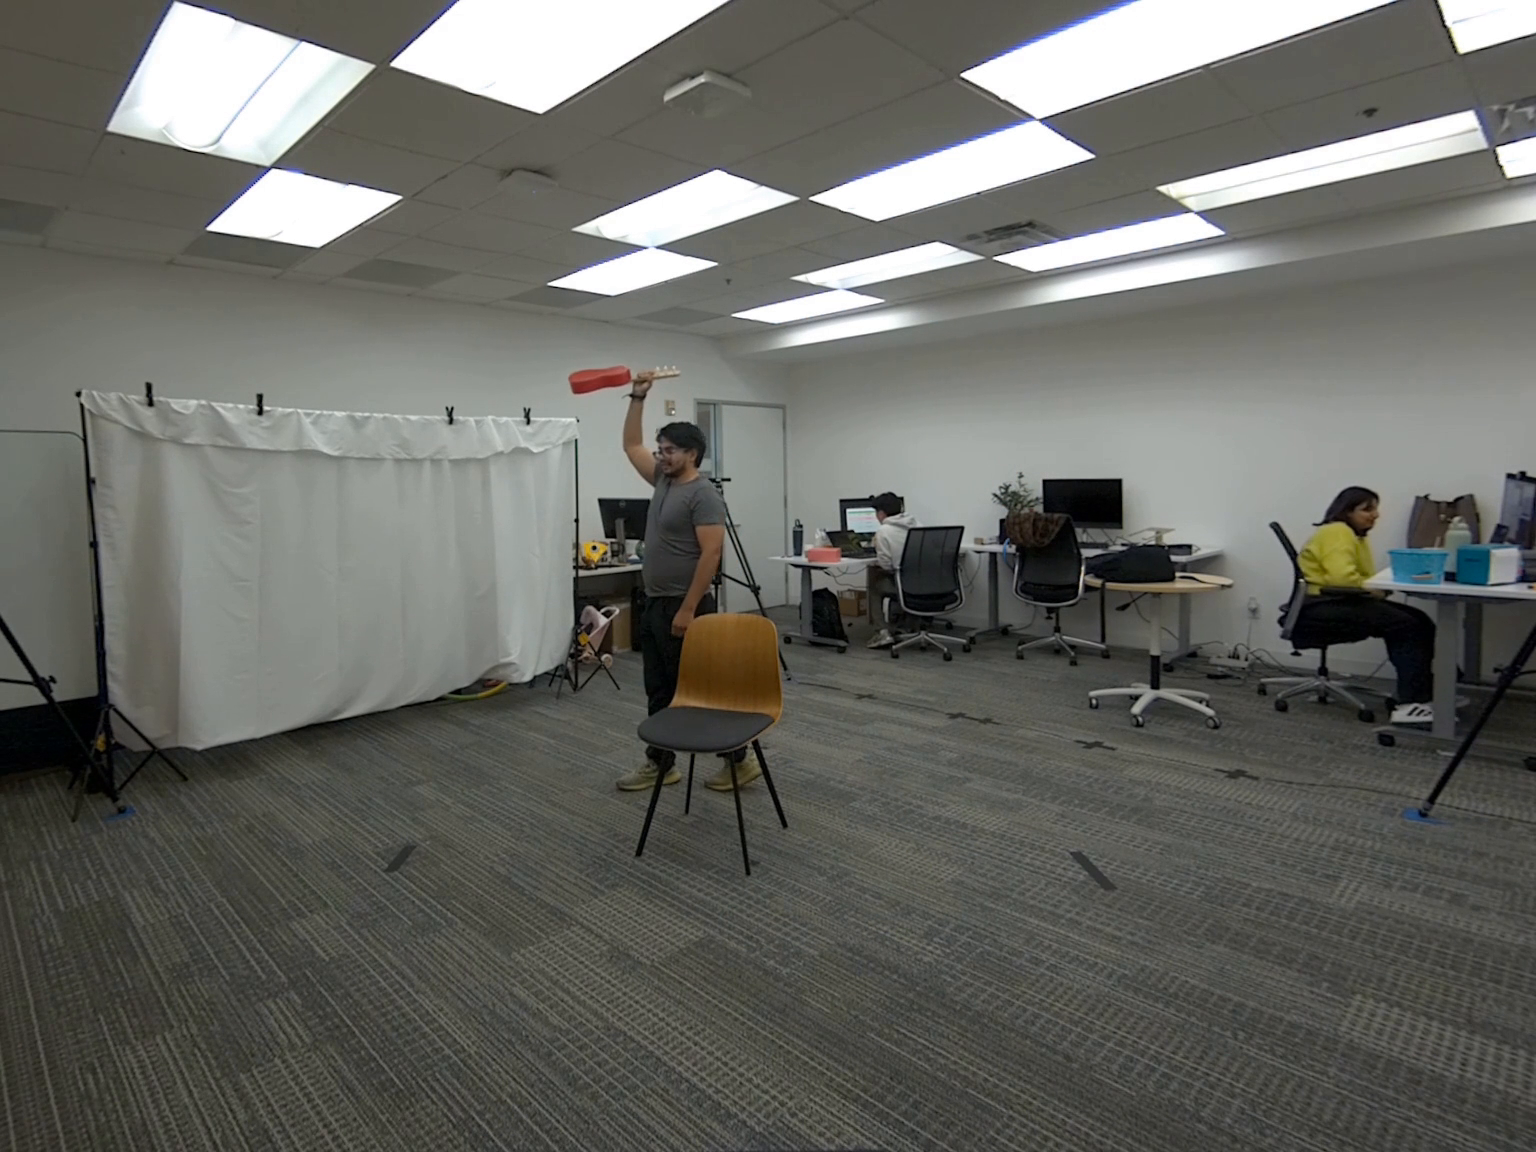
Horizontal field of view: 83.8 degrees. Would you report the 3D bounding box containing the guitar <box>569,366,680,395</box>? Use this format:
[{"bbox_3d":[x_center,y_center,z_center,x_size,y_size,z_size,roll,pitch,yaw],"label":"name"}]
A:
[{"bbox_3d":[-0.657,-0.914,3.891,0.495,0.069,0.199,-13,27,-8],"label":"guitar"}]
